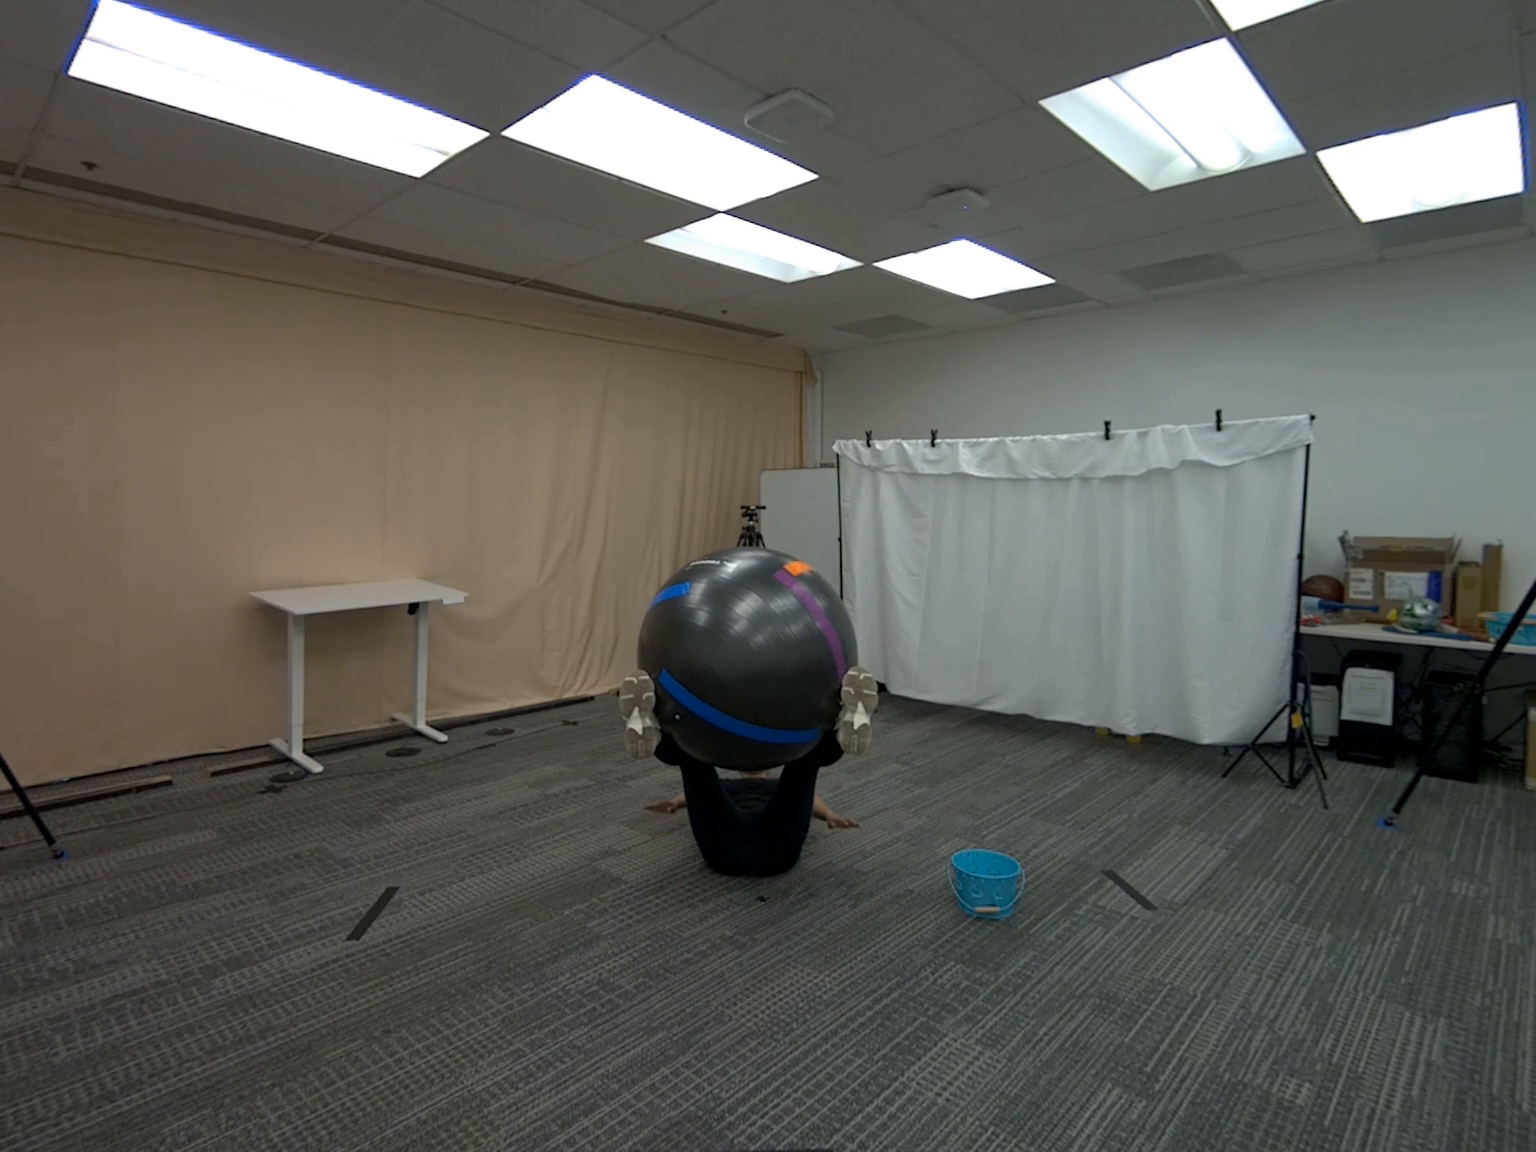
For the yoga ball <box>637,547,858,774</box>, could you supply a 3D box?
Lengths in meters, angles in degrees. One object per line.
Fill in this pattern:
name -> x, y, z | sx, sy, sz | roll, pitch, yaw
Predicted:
yoga ball -> -0.076, 0.283, 2.894 | 0.757, 0.756, 0.760 | 0, 4, -2
